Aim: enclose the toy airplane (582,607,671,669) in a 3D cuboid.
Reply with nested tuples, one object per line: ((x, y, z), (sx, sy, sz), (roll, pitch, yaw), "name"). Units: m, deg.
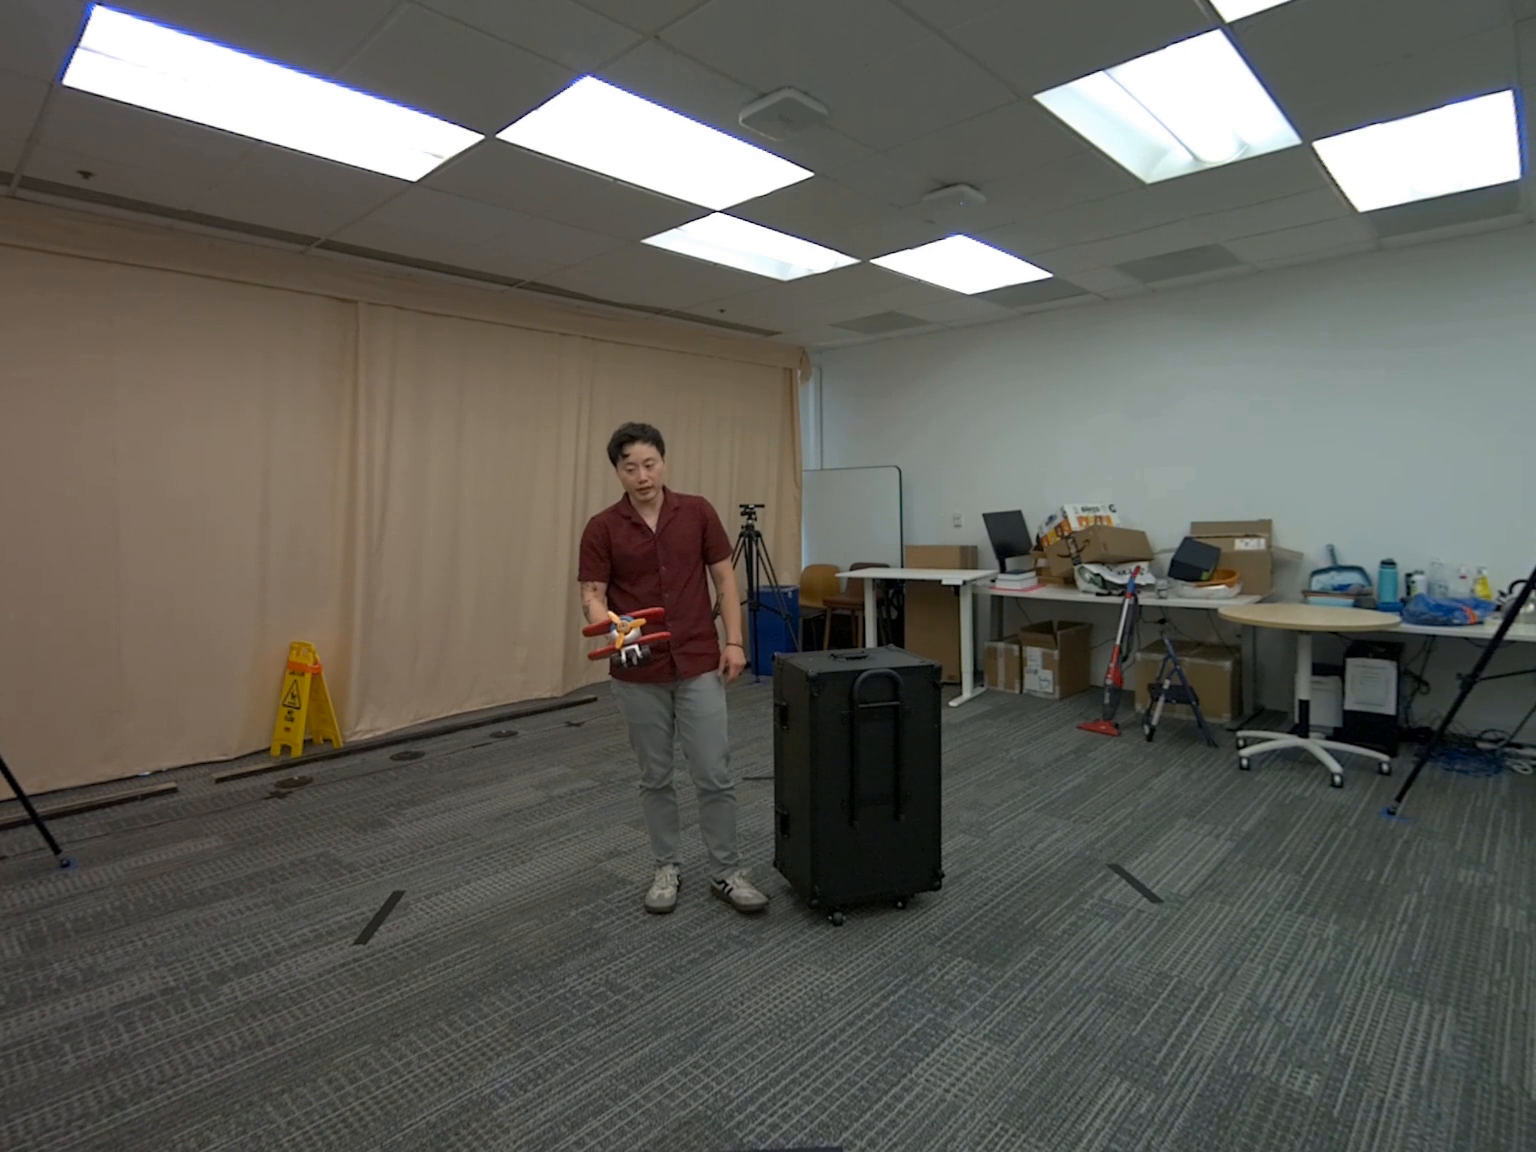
((-0.443, 0.204, 2.565), (0.244, 0.157, 0.264), (-12, -6, -35), "toy airplane")
